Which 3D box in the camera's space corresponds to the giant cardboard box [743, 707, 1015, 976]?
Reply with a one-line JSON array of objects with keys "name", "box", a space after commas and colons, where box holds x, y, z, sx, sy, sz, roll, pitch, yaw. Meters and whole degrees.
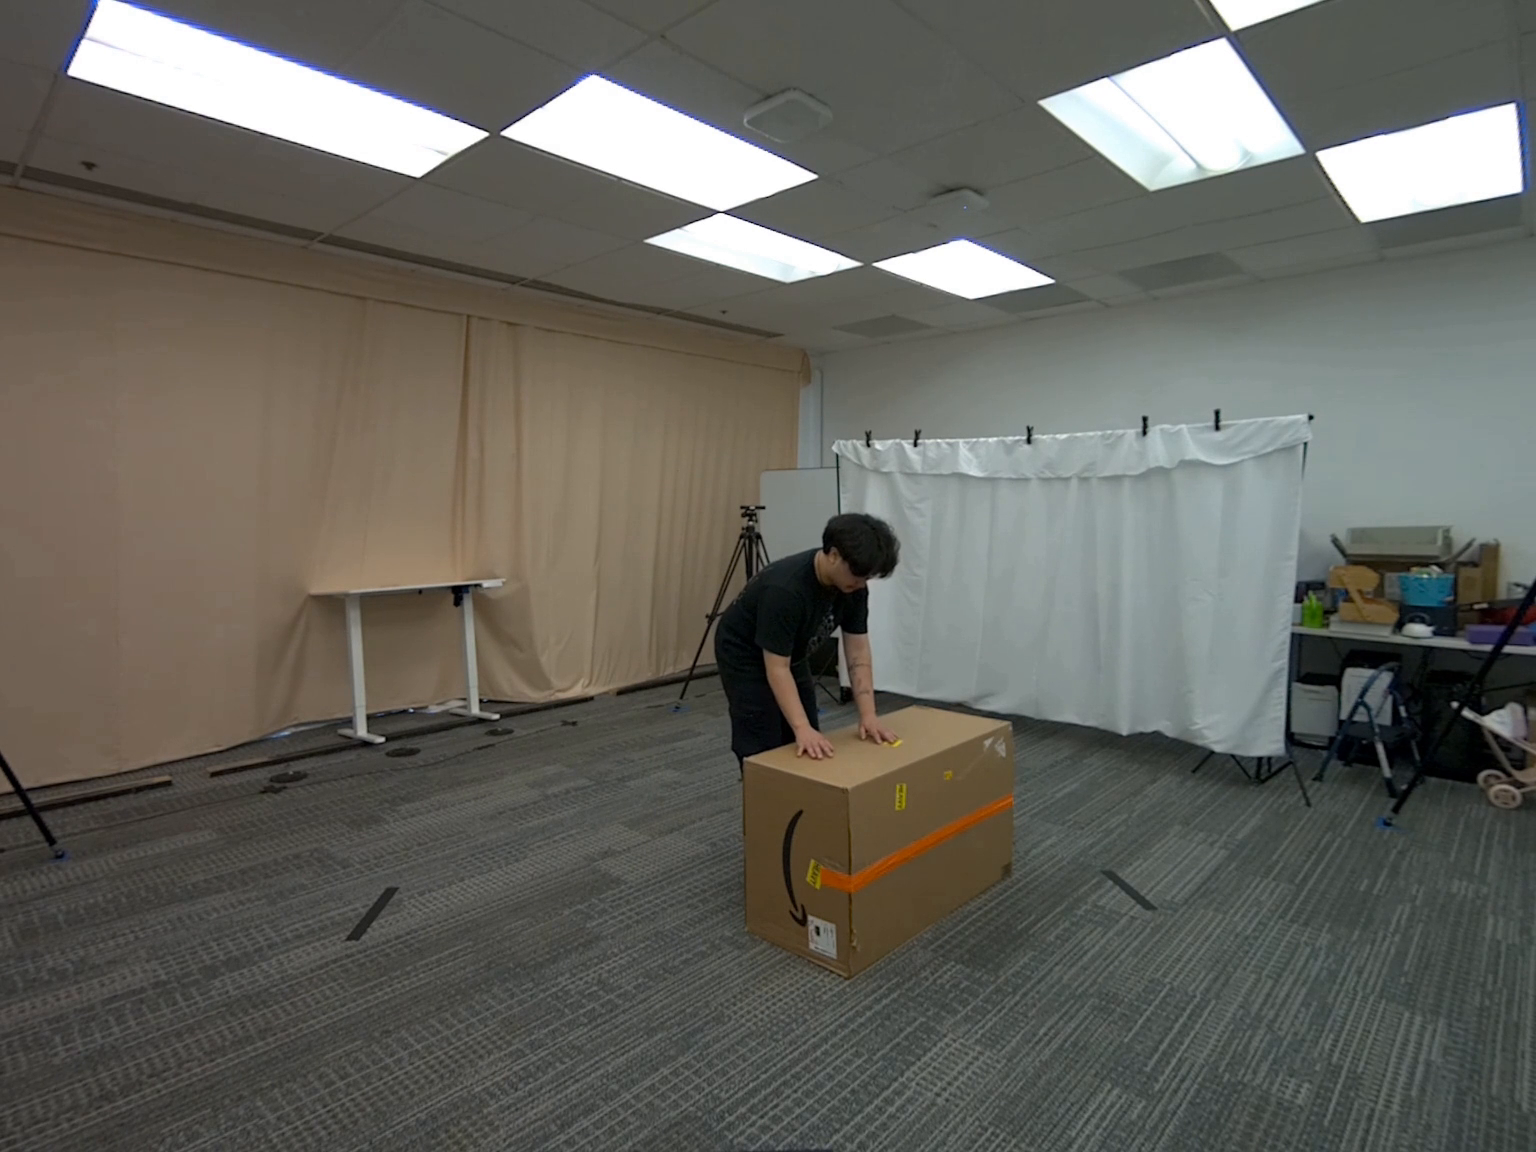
[{"name": "giant cardboard box", "box": [0.428, 0.860, 2.953, 0.462, 0.582, 0.996, 4, 7, 43]}]
